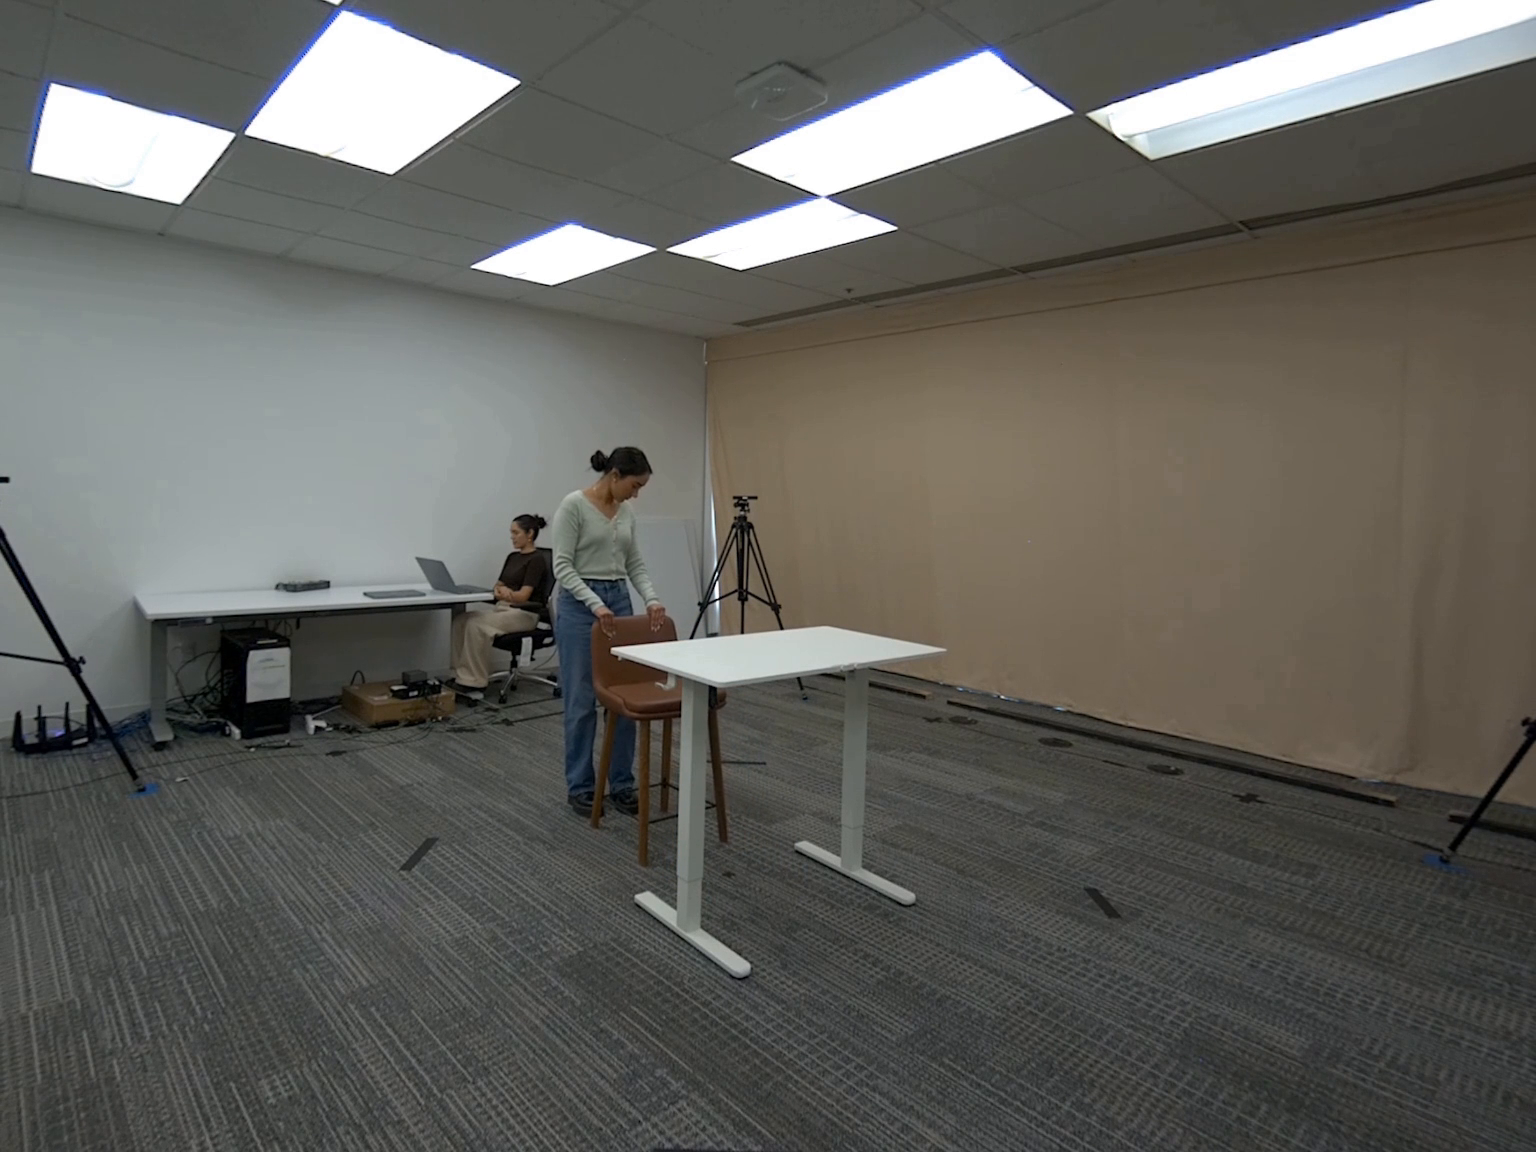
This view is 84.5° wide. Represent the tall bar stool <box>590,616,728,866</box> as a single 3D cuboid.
[{"bbox_3d":[-0.463,0.624,3.443,0.446,0.888,0.479,-1,2,-37],"label":"tall bar stool"}]
